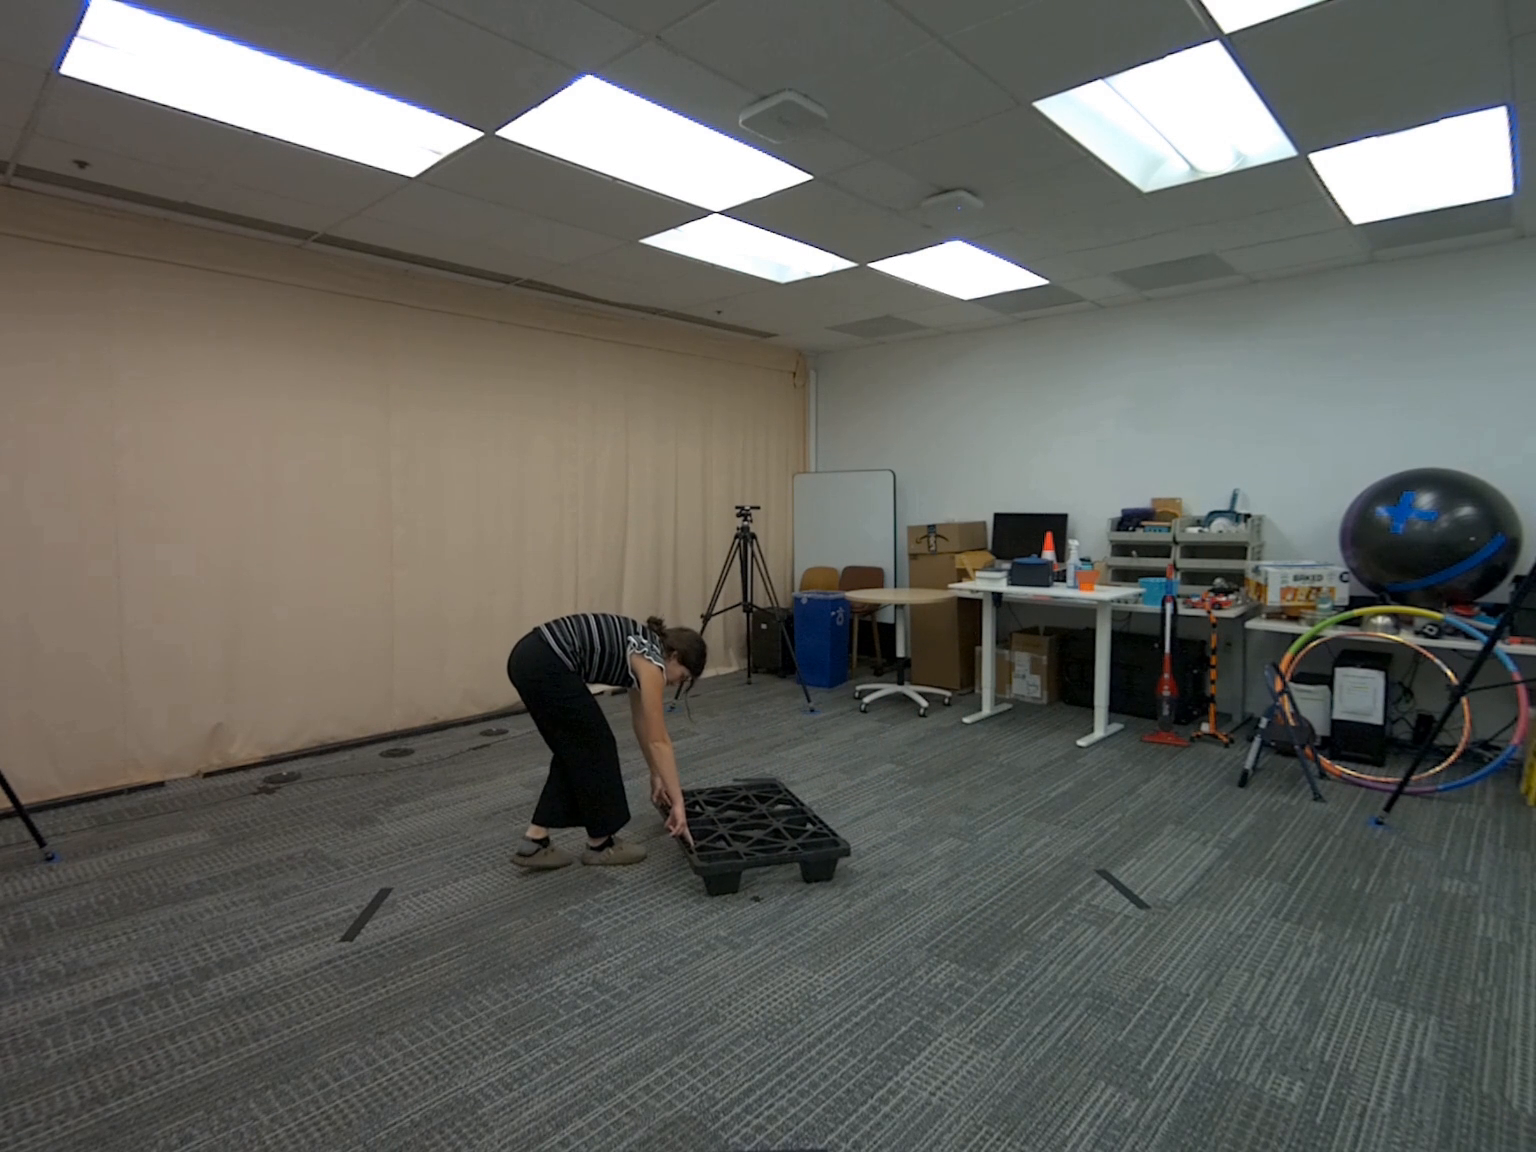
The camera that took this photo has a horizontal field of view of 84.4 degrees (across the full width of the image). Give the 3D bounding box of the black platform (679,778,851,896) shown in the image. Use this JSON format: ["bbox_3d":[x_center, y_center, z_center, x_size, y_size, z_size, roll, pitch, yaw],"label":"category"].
[{"bbox_3d":[-0.097,1.039,3.409,0.595,0.143,0.822,-2,5,-18],"label":"black platform"}]
